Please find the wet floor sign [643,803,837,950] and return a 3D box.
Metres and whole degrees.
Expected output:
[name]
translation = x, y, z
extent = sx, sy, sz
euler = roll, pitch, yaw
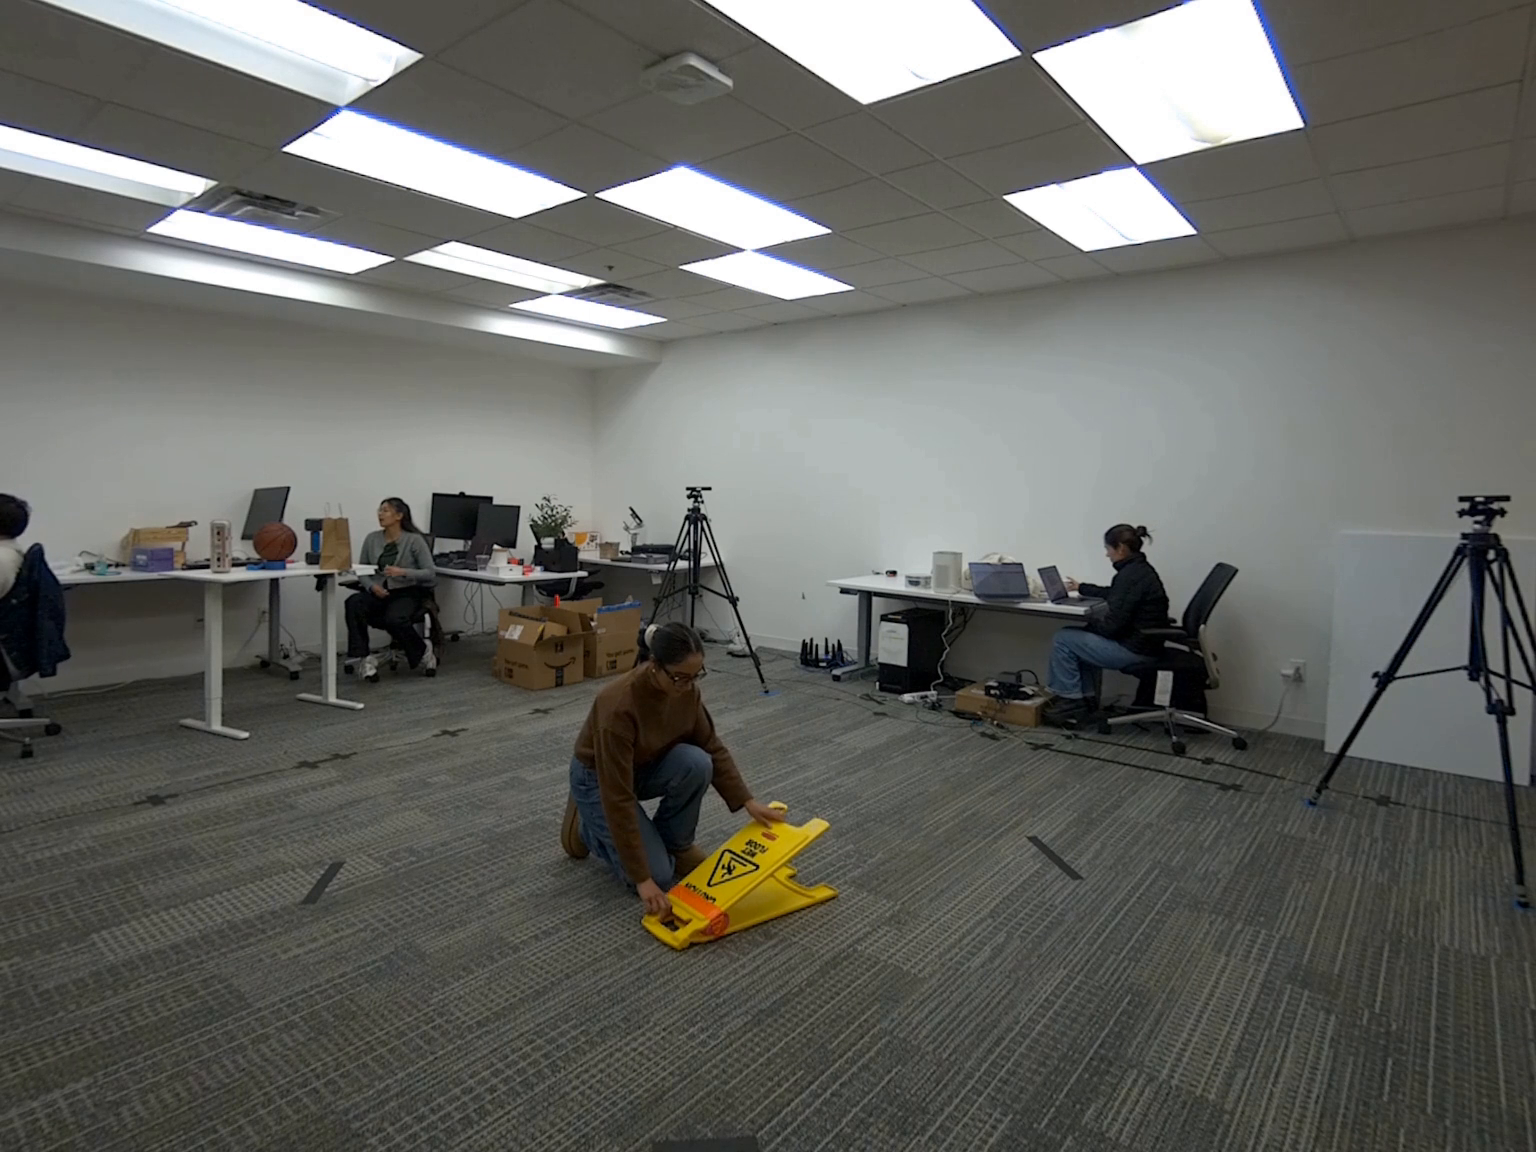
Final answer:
[wet floor sign]
translation = -0.107, 1.021, 2.801
extent = 0.632, 0.287, 0.291
euler = -17, 13, -38
